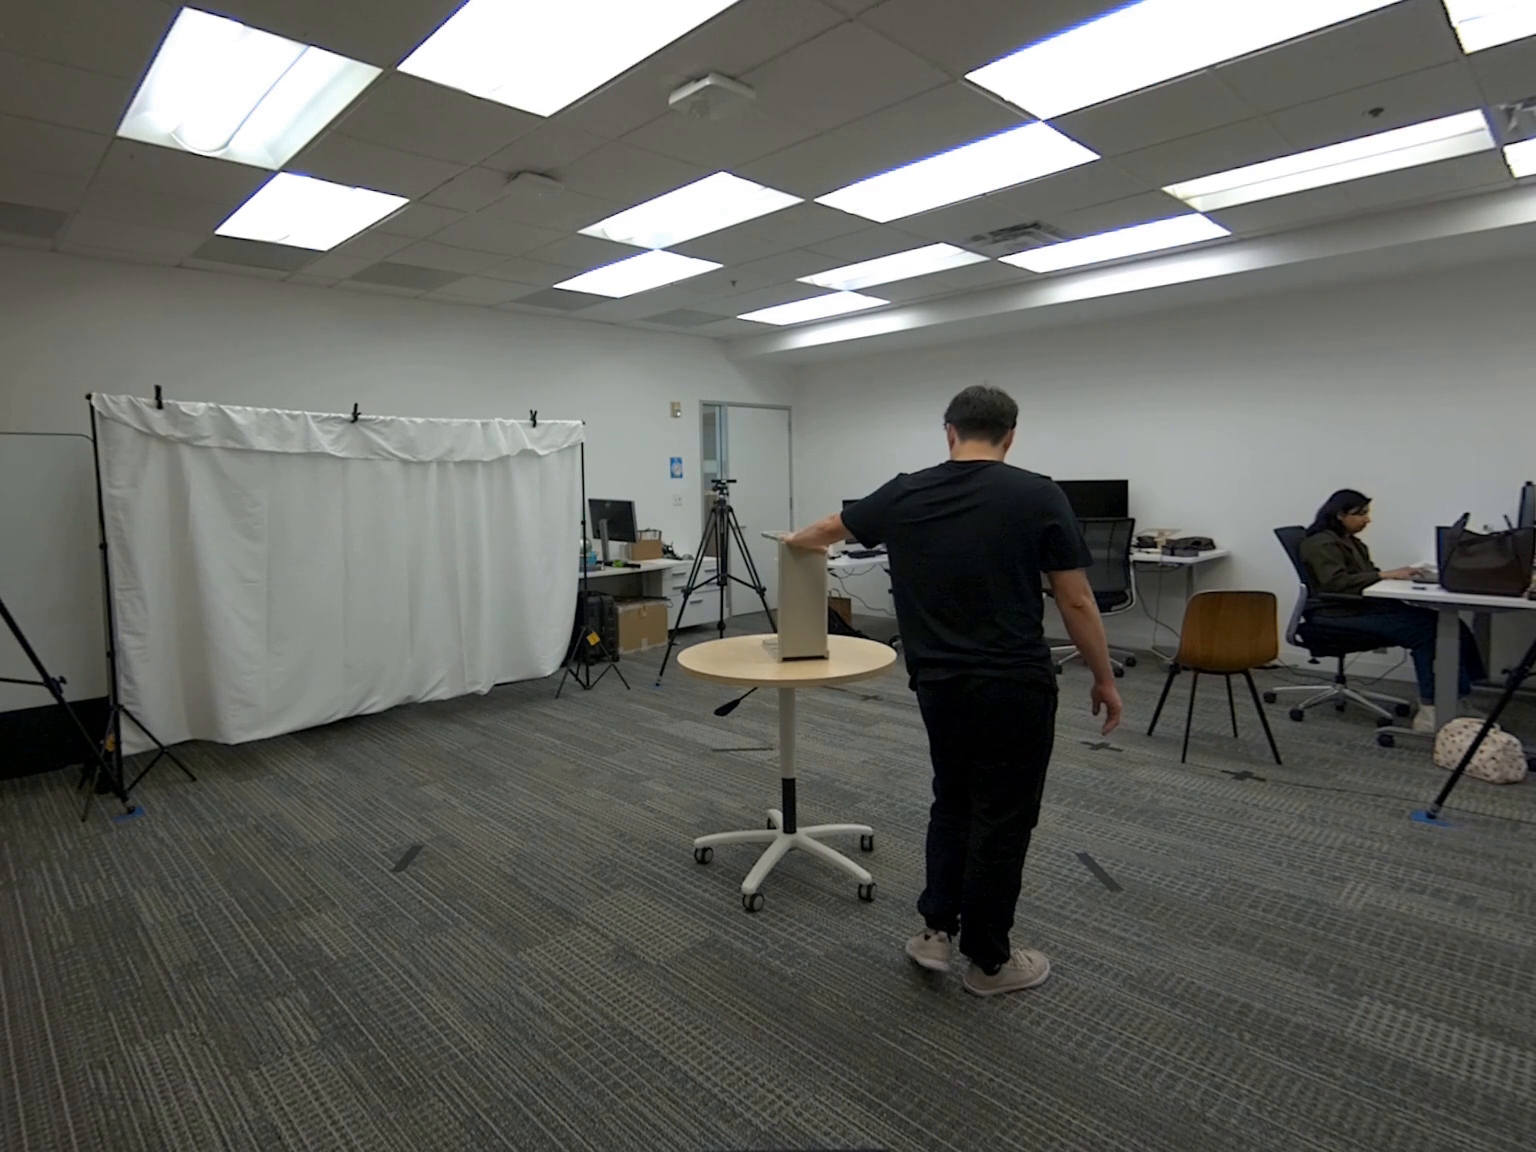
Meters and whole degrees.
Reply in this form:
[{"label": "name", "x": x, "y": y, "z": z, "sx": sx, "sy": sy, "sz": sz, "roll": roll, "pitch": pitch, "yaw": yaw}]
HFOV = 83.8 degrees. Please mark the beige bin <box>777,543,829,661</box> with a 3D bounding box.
[{"label": "beige bin", "x": 0.089, "y": 0.059, "z": 3.044, "sx": 0.187, "sy": 0.421, "sz": 0.382, "roll": 0, "pitch": 4, "yaw": -10}]
